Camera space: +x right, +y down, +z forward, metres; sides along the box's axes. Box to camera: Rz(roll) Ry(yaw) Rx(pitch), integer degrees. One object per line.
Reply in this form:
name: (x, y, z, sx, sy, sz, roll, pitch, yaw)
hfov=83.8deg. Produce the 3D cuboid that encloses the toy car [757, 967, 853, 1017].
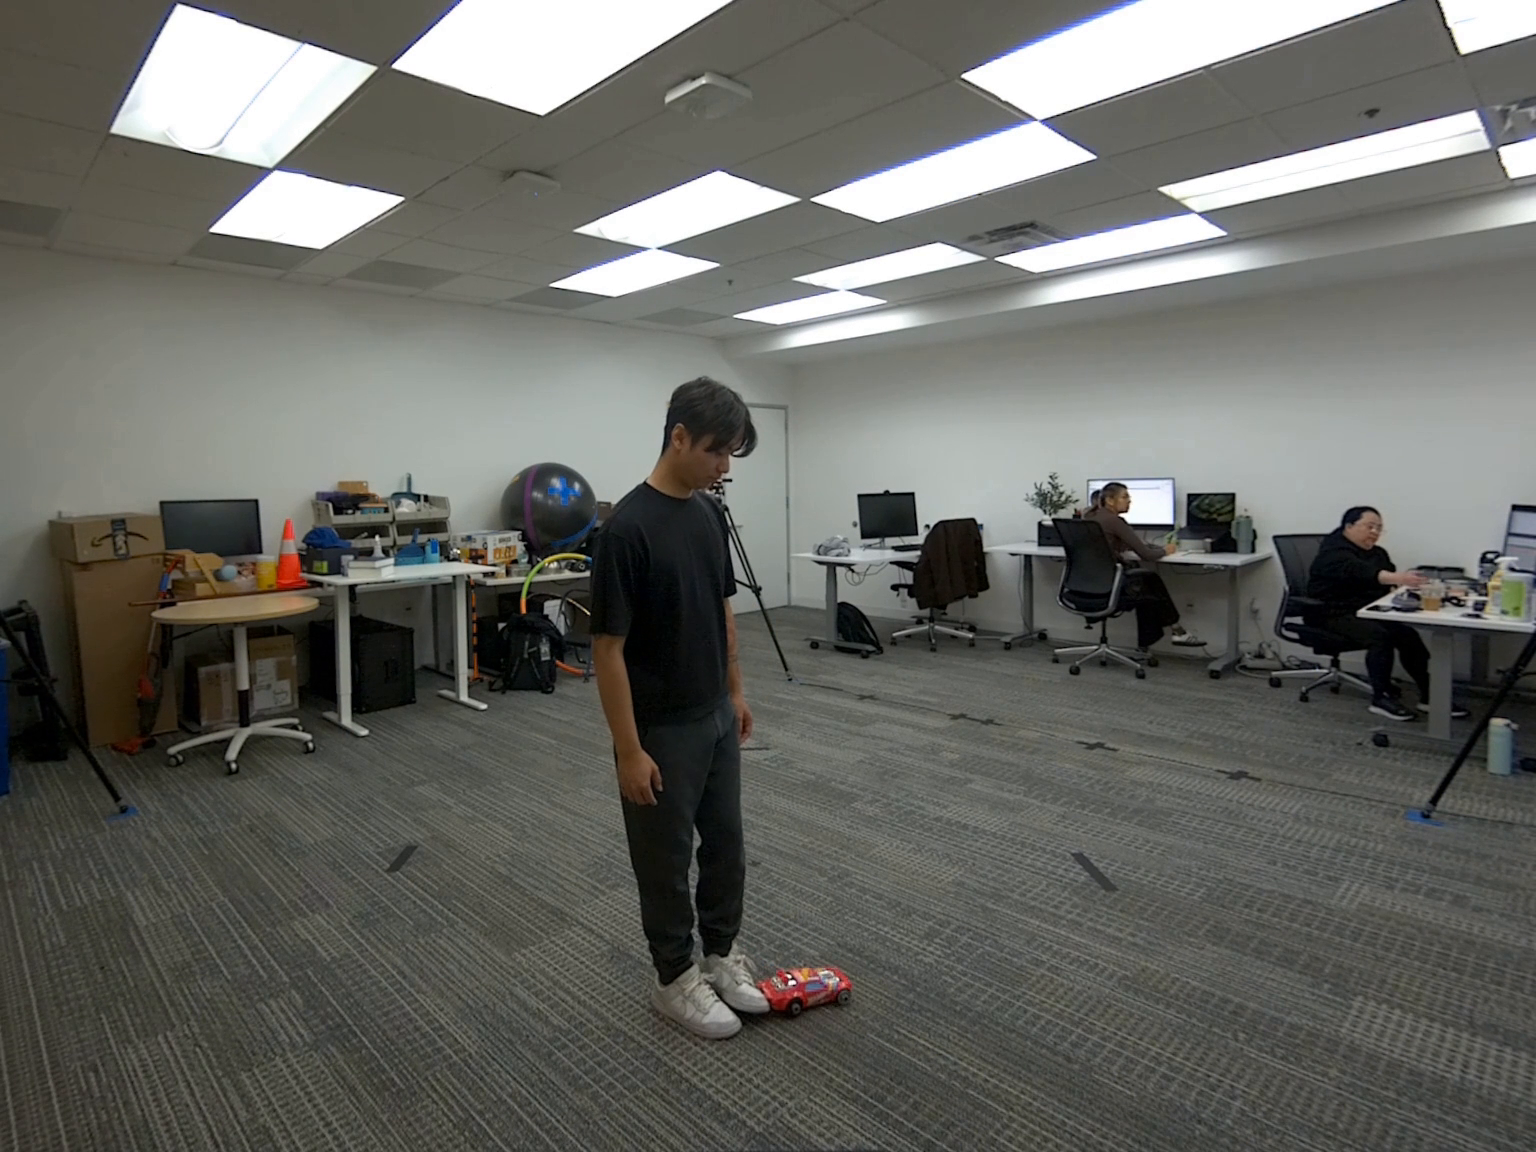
toy car: (0.101, 1.104, 2.275, 0.248, 0.083, 0.133, 10, 1, -23)
